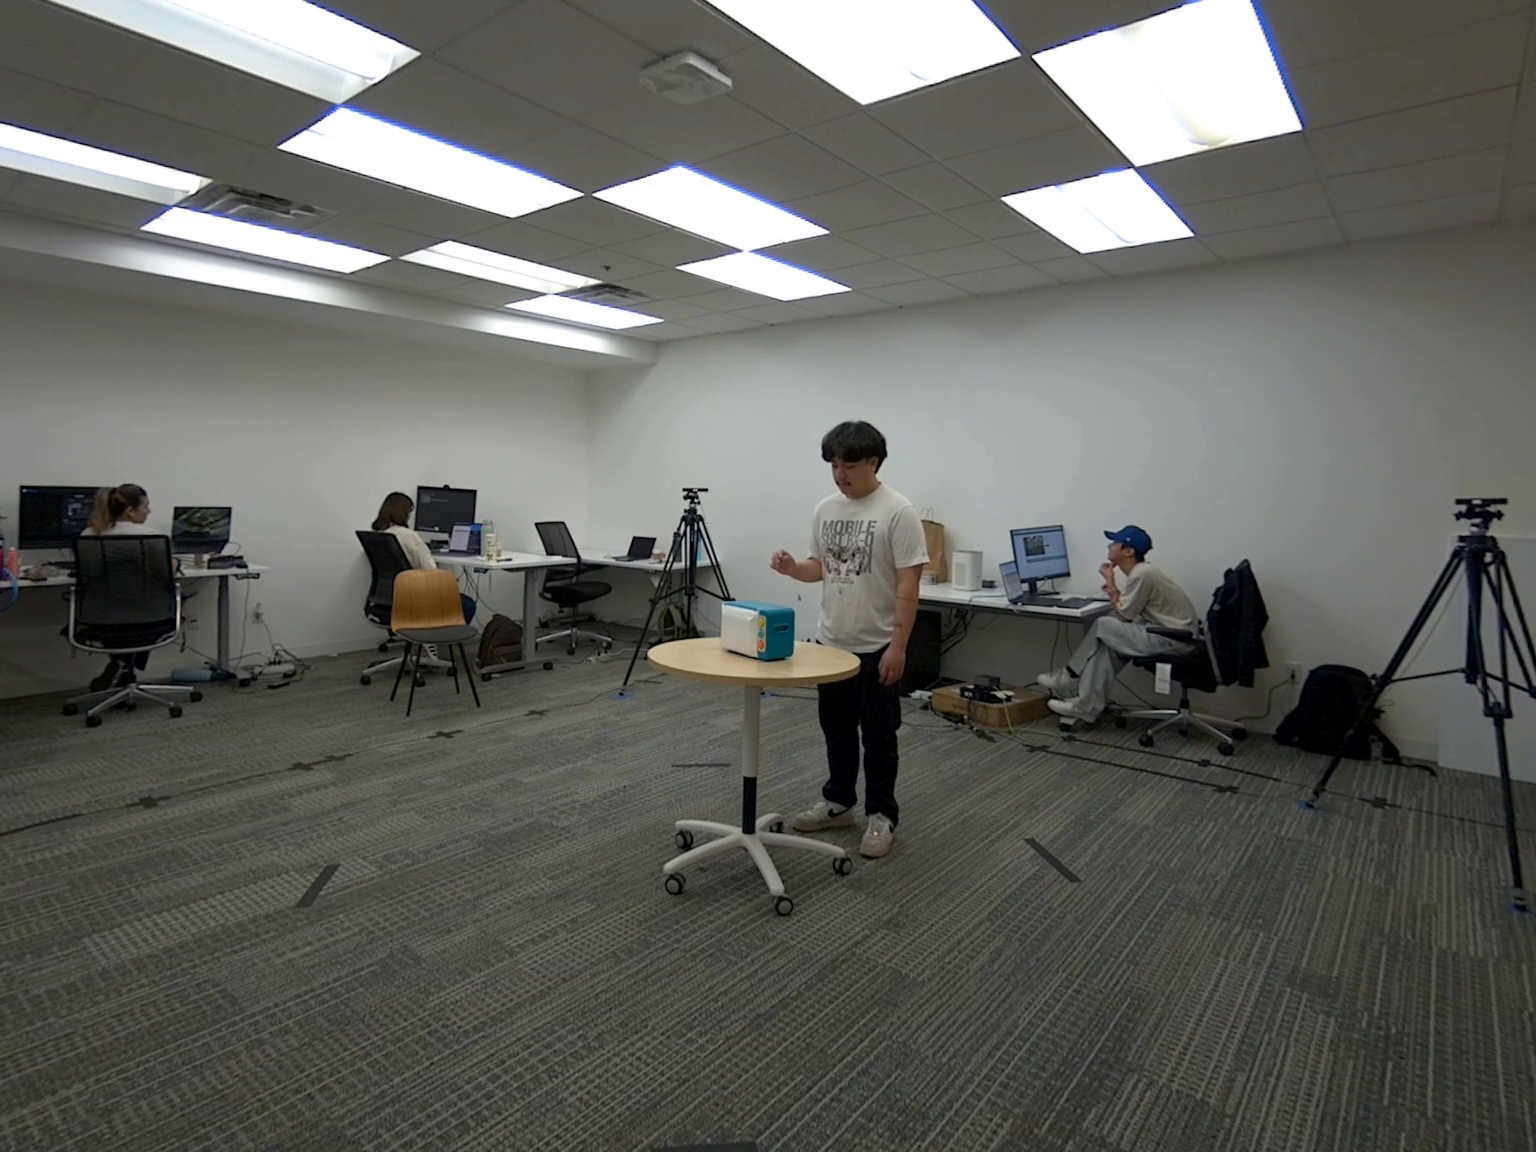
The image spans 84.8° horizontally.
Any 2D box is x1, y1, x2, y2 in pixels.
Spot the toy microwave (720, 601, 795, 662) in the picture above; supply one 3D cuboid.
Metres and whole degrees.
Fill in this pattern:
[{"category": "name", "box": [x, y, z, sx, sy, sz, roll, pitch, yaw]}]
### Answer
[{"category": "toy microwave", "box": [-0.056, 0.190, 3.080, 0.148, 0.183, 0.296, -1, 6, -38]}]
